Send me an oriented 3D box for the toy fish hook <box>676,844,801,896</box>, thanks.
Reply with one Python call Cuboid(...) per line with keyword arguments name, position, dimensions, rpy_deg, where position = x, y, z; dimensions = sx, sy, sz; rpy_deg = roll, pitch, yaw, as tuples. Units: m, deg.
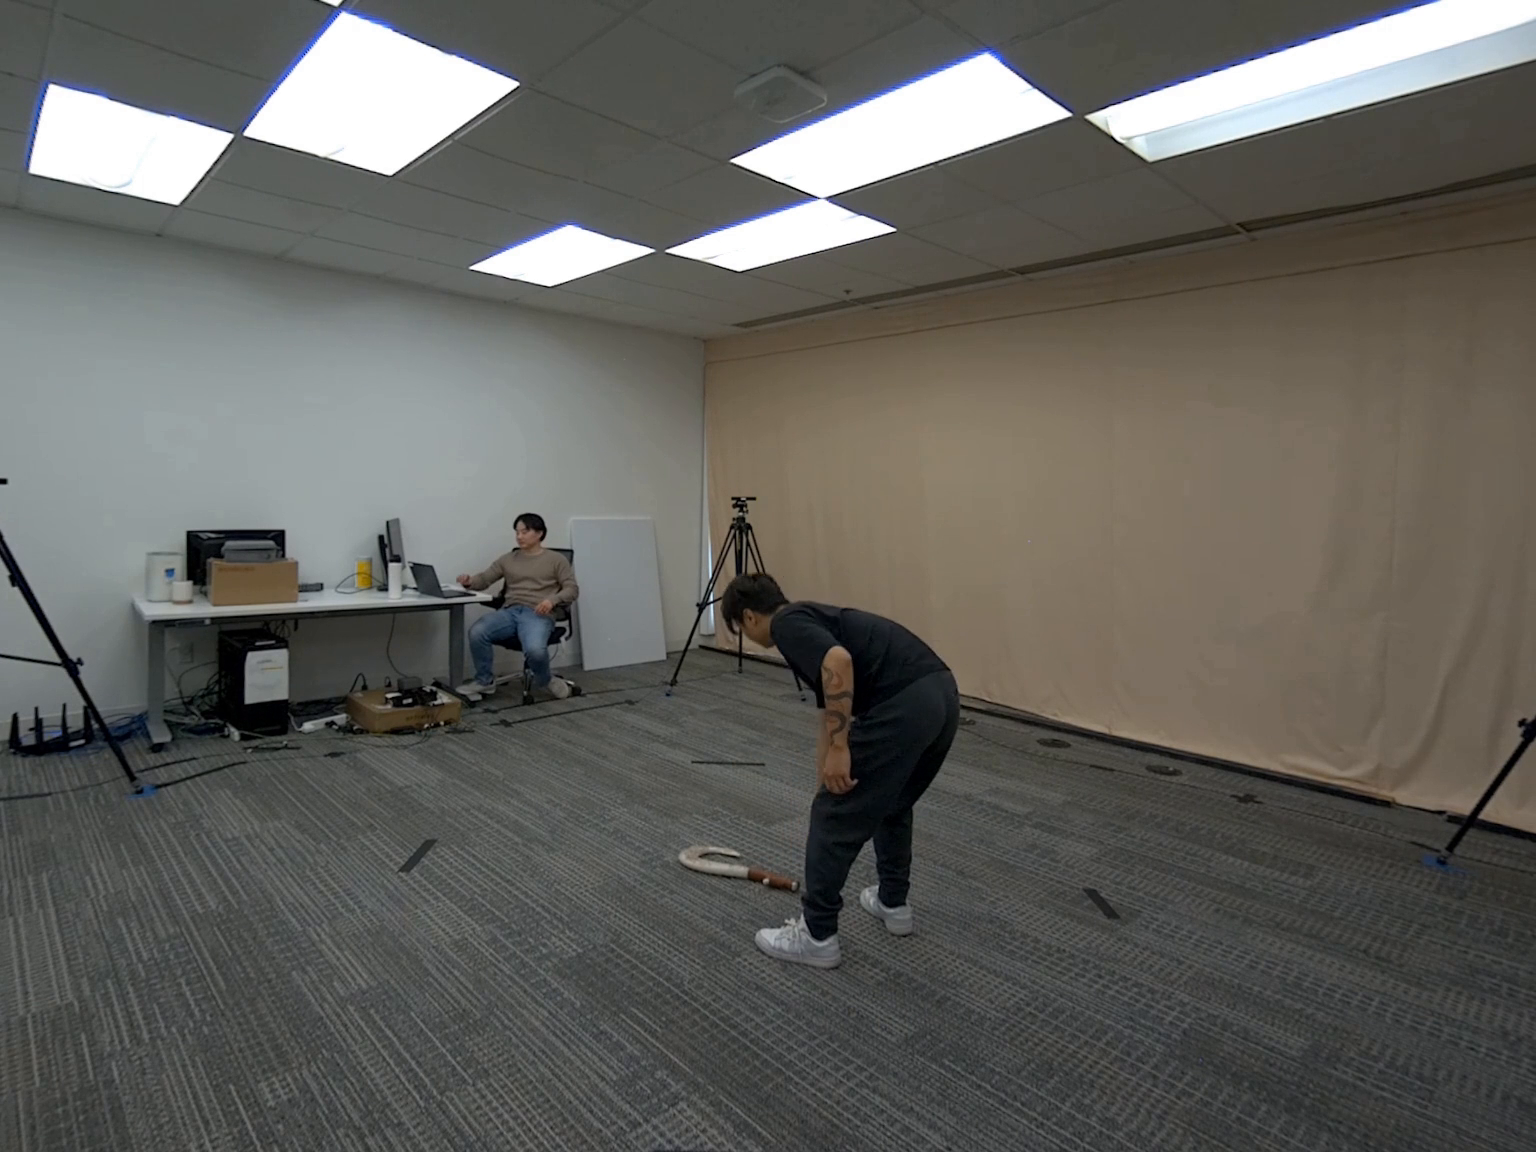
Cuboid(name="toy fish hook", position=(-0.100, 1.083, 3.146), dimensions=(0.517, 0.048, 0.221), rpy_deg=(5, 7, 28))
